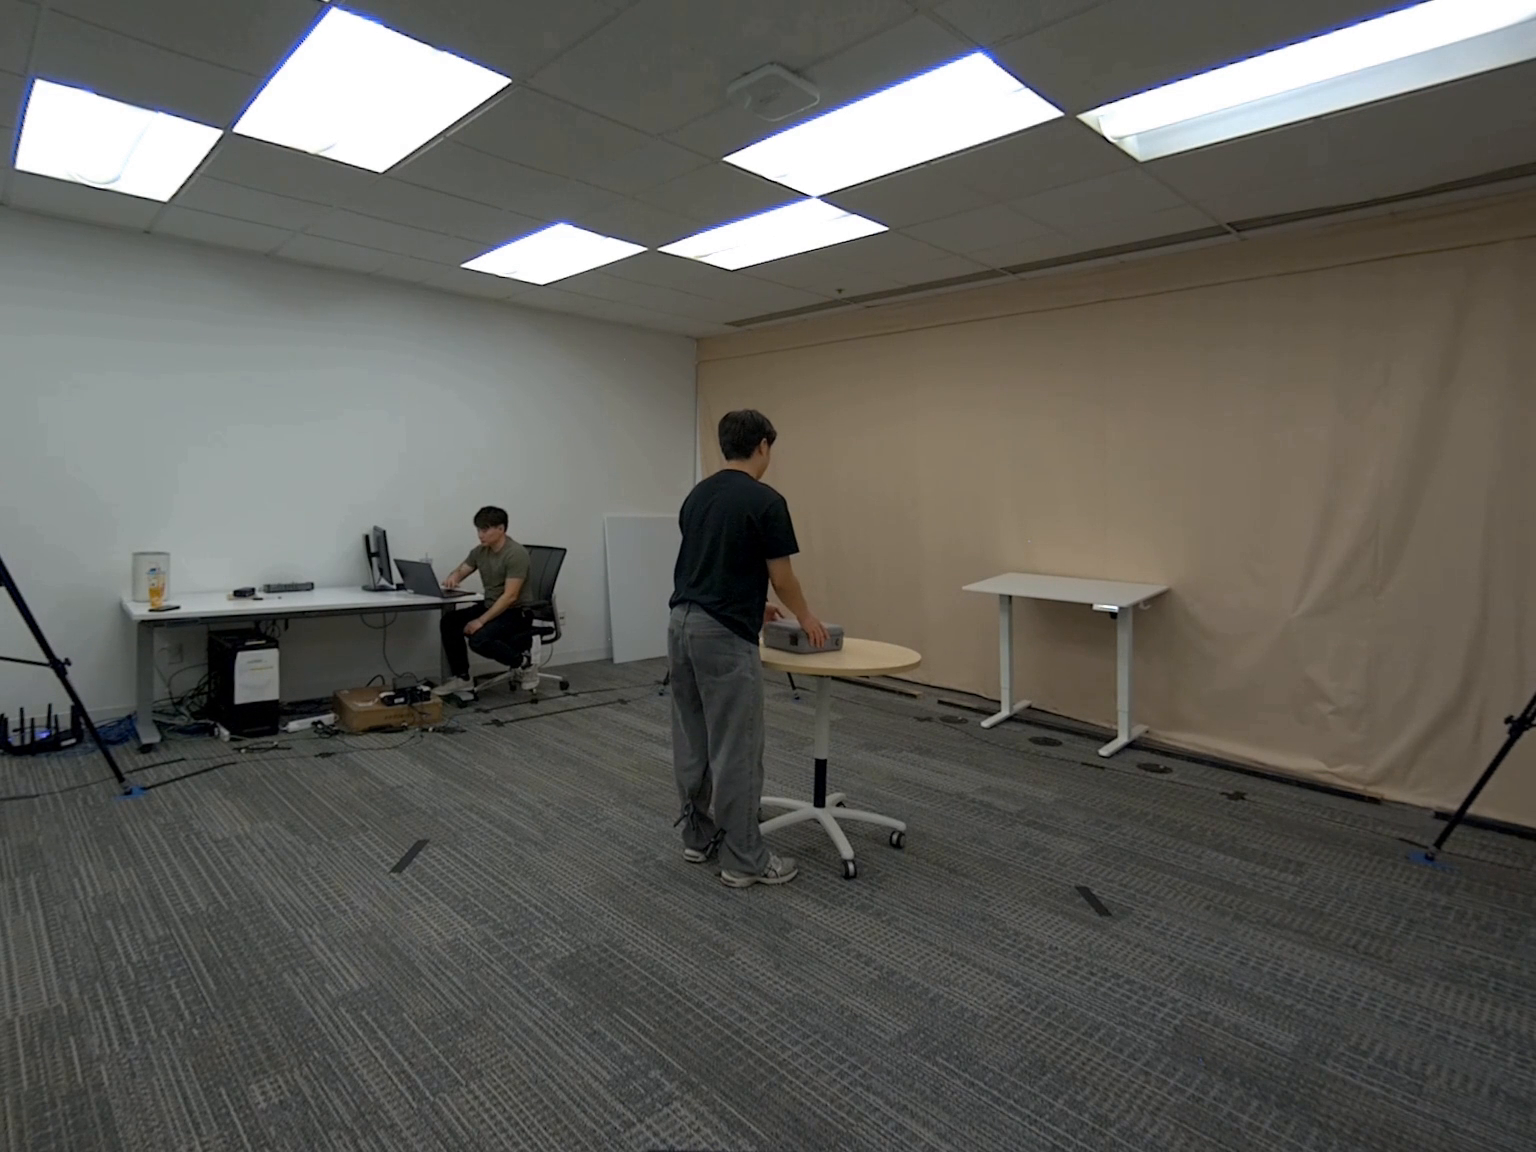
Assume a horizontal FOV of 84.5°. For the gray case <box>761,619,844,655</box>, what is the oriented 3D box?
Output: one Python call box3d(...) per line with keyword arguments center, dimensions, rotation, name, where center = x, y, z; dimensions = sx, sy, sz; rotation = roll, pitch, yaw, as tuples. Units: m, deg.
box3d(center=(0.150, 0.246, 3.468), dimensions=(0.280, 0.103, 0.270), rotation=(-1, 5, -39), name="gray case")
